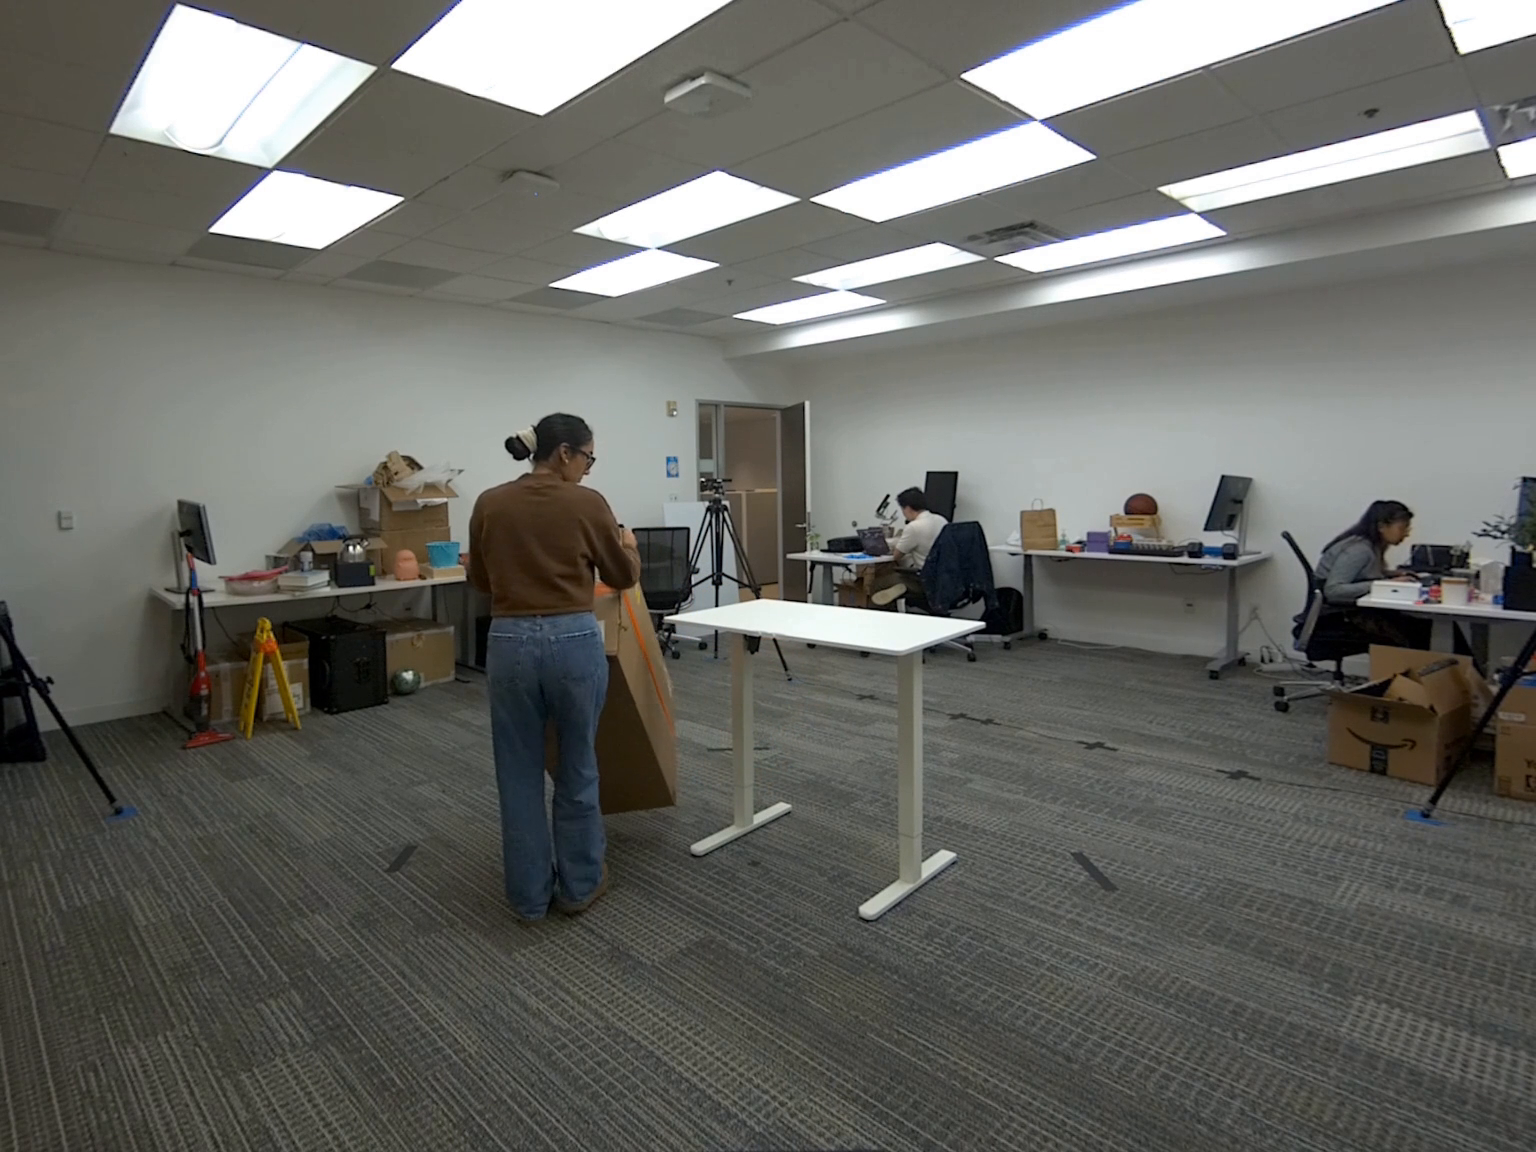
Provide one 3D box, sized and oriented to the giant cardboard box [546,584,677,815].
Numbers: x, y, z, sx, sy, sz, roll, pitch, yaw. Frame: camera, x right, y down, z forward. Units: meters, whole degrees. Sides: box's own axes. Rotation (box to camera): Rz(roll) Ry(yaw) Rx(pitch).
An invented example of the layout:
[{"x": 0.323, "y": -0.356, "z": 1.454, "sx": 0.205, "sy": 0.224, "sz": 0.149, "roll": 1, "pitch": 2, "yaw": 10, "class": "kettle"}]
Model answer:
[{"x": -0.650, "y": 0.406, "z": 3.278, "sx": 0.427, "sy": 0.993, "sz": 0.595, "roll": -9, "pitch": 47, "yaw": 1, "class": "giant cardboard box"}]
